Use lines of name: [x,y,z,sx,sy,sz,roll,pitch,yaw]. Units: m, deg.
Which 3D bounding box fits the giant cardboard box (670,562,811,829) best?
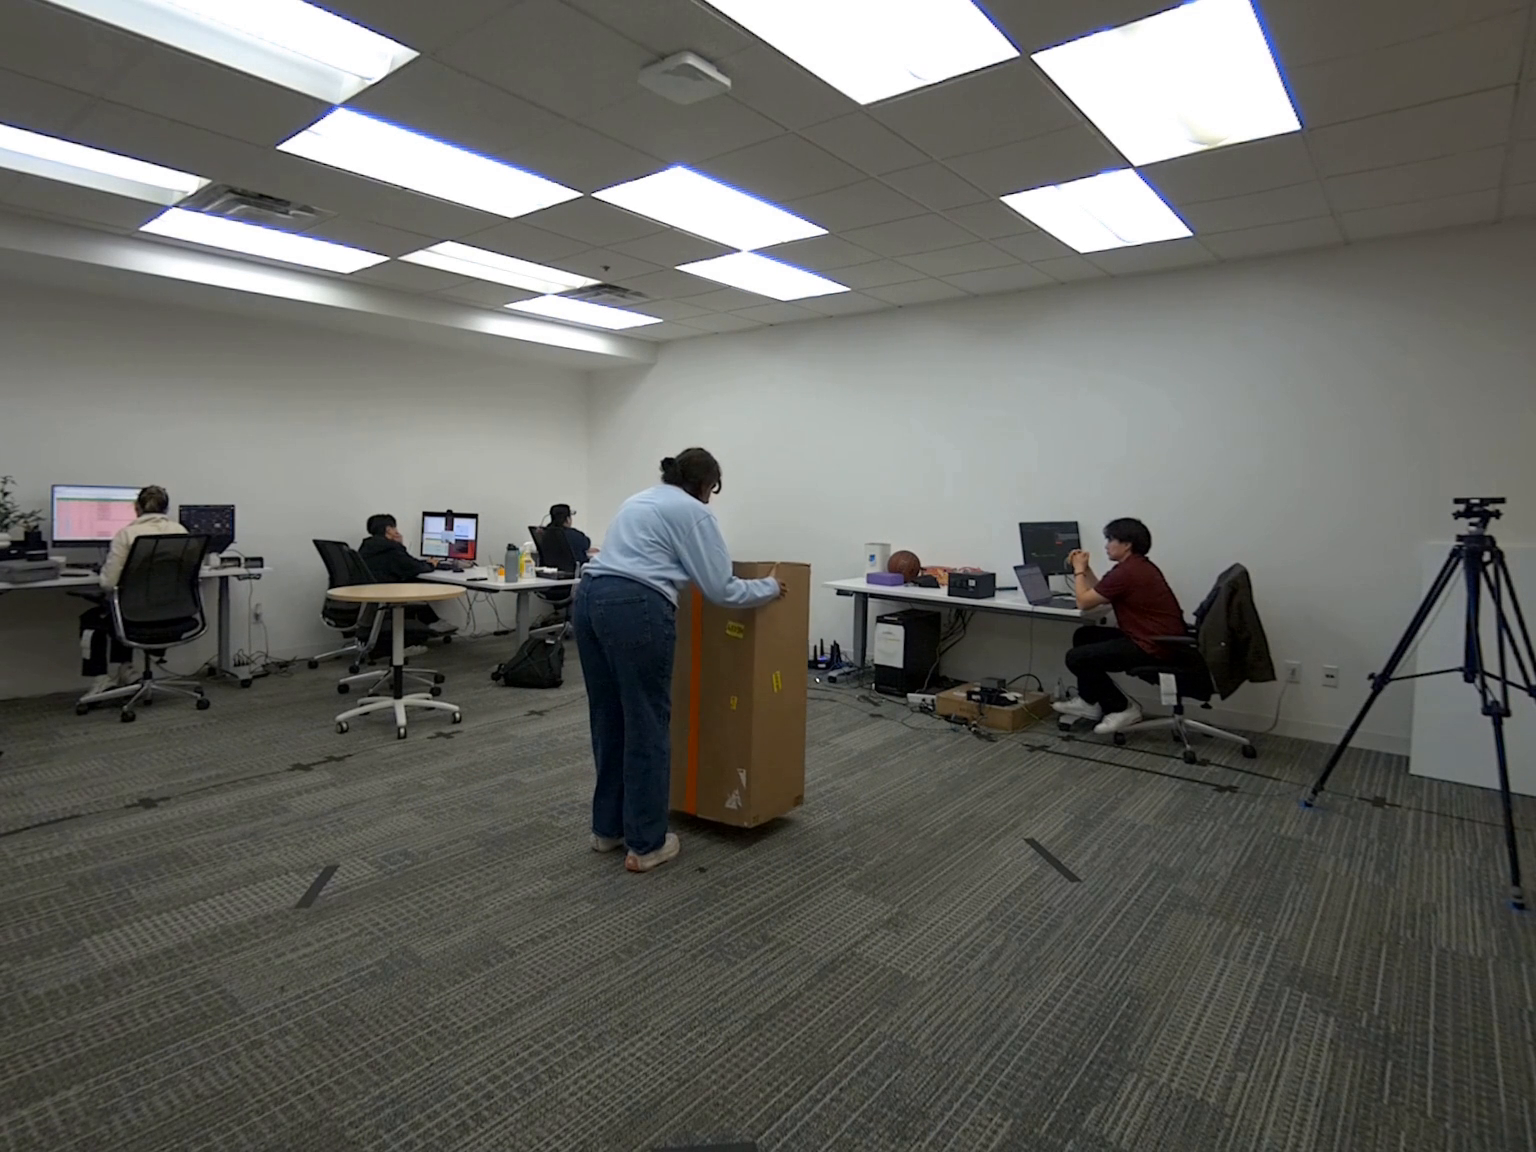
giant cardboard box: [-0.197,0.444,3.602,0.602,1.028,0.433,1,-1,35]
